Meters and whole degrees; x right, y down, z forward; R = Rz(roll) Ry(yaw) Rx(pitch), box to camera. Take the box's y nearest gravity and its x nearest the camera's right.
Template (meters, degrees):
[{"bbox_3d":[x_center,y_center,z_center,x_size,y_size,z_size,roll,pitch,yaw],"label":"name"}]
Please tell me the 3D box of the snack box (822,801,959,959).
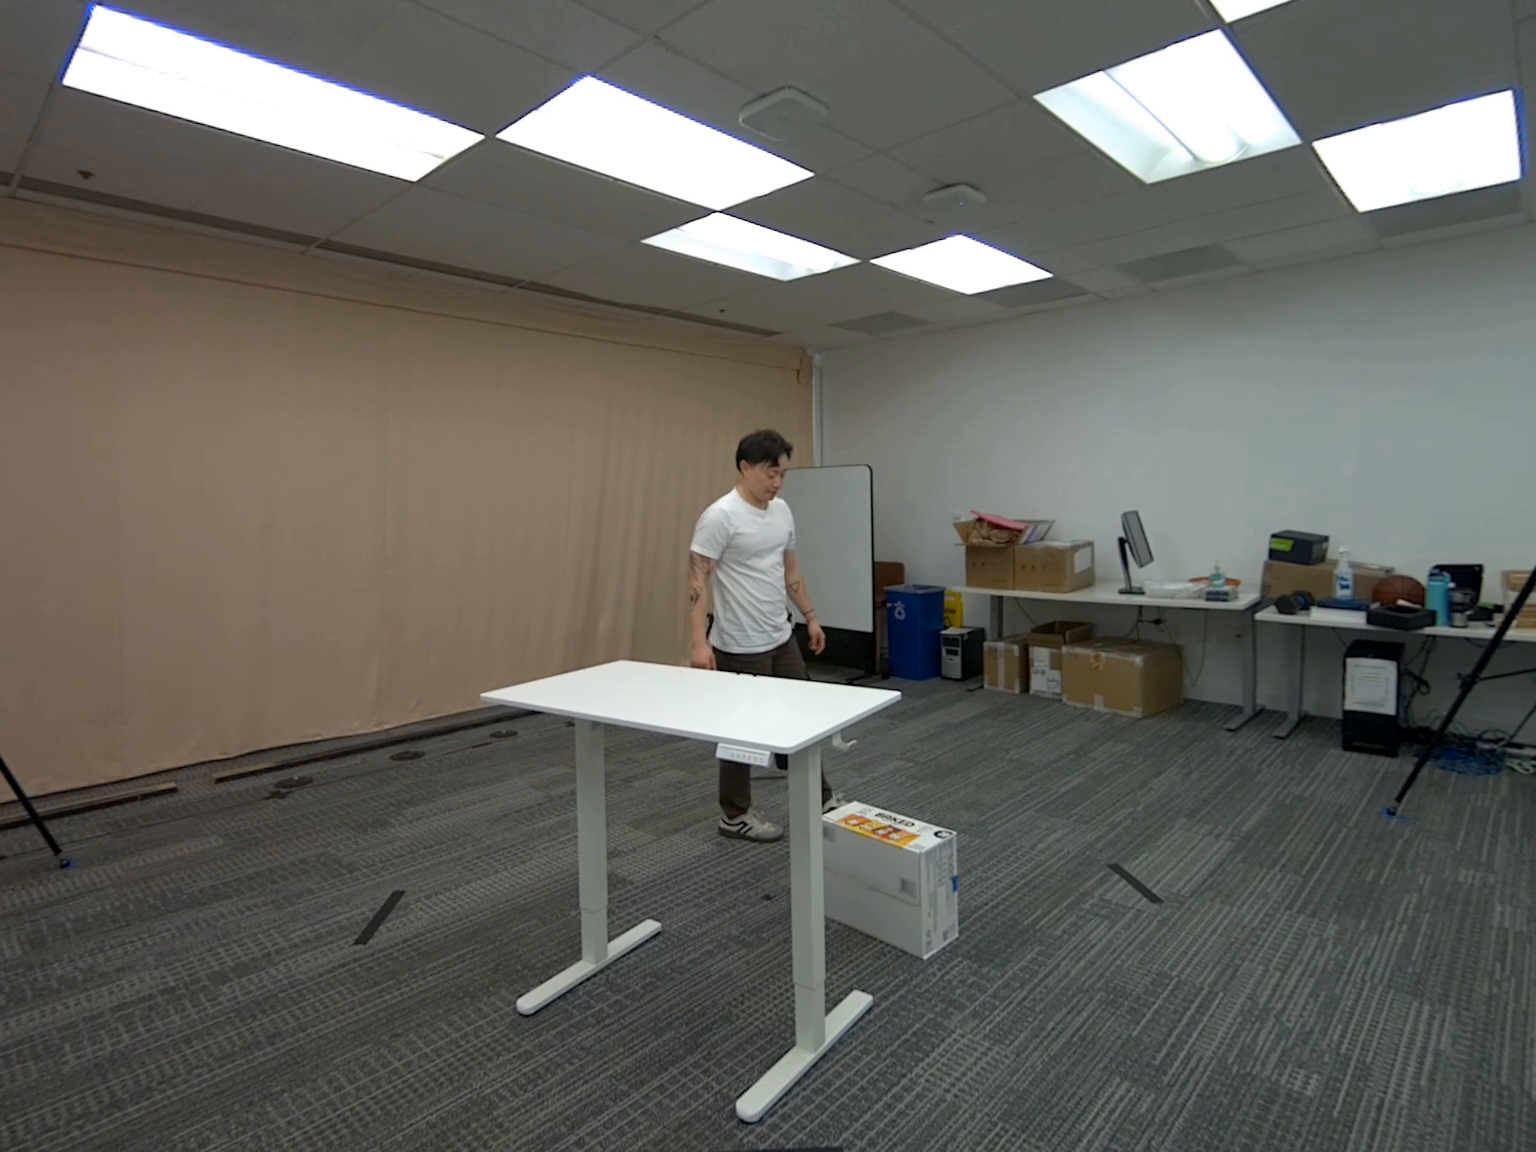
[{"bbox_3d":[0.397,0.983,2.757,0.199,0.339,0.418,-7,7,-44],"label":"snack box"}]
